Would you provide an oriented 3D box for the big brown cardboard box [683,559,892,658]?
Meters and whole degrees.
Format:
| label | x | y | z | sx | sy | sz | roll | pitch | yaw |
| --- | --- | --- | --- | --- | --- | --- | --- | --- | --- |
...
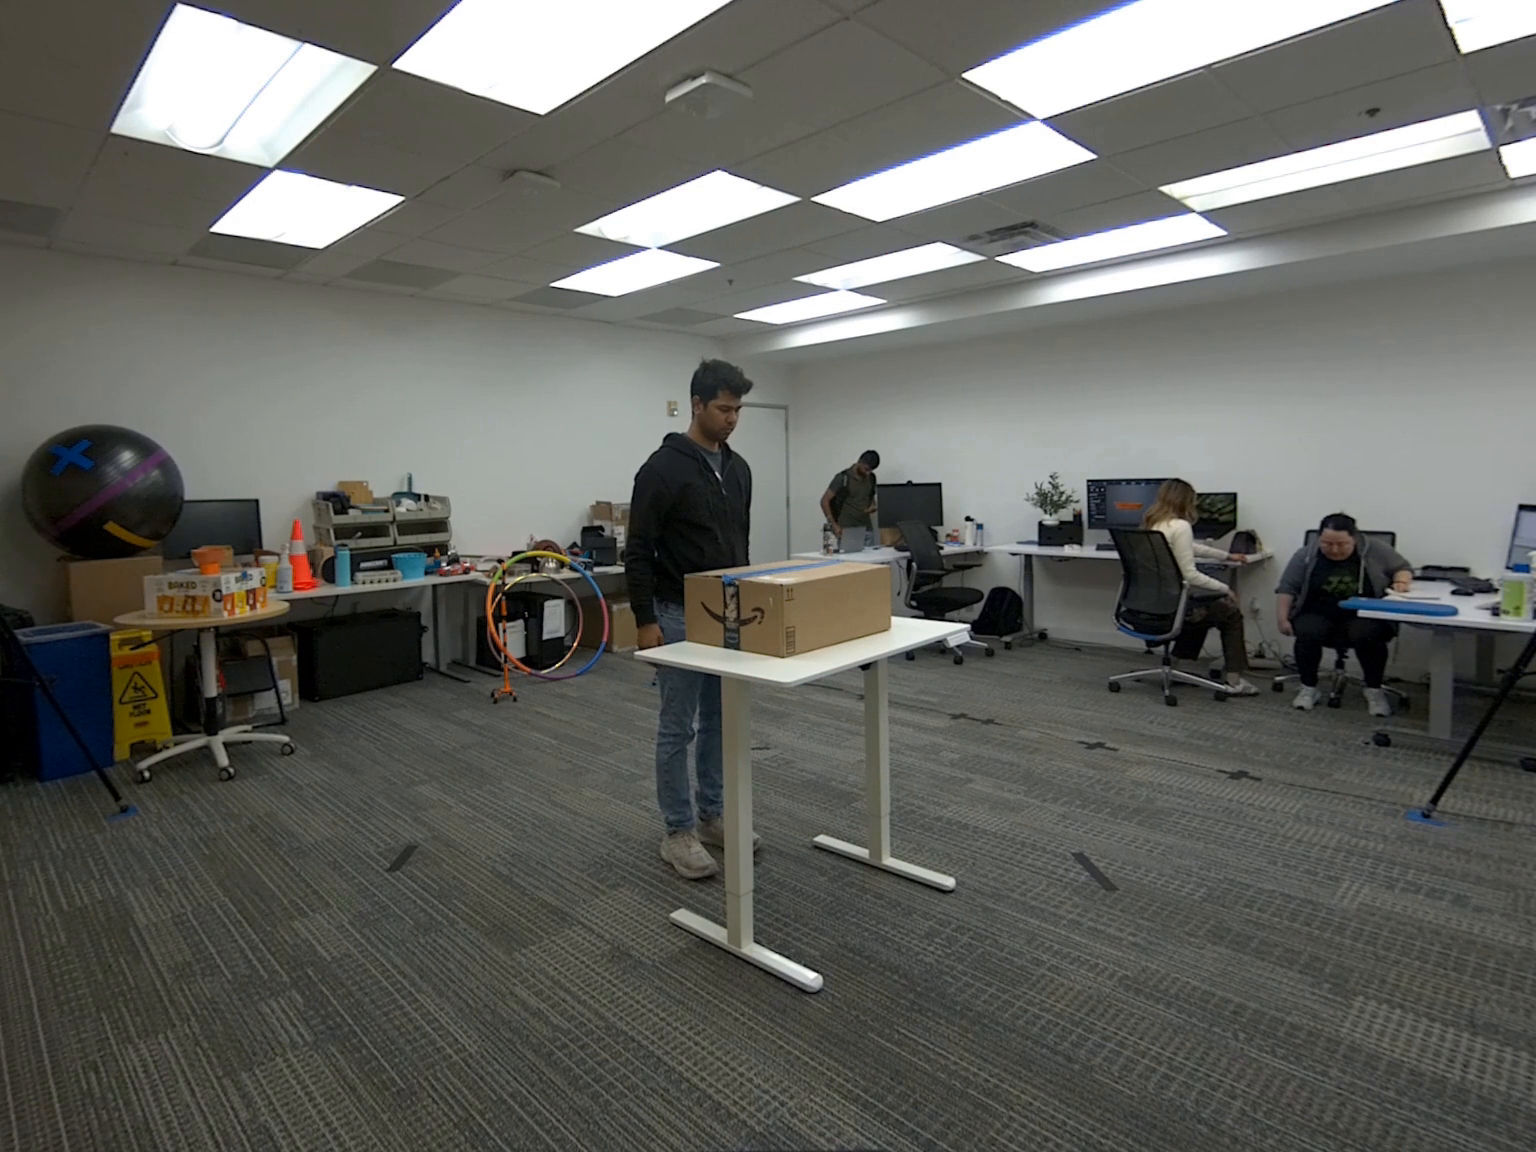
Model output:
| label | x | y | z | sx | sy | sz | roll | pitch | yaw |
| --- | --- | --- | --- | --- | --- | --- | --- | --- | --- |
| big brown cardboard box | 0.068 | 0.085 | 2.789 | 0.430 | 0.232 | 0.573 | 4 | 7 | 42 |
